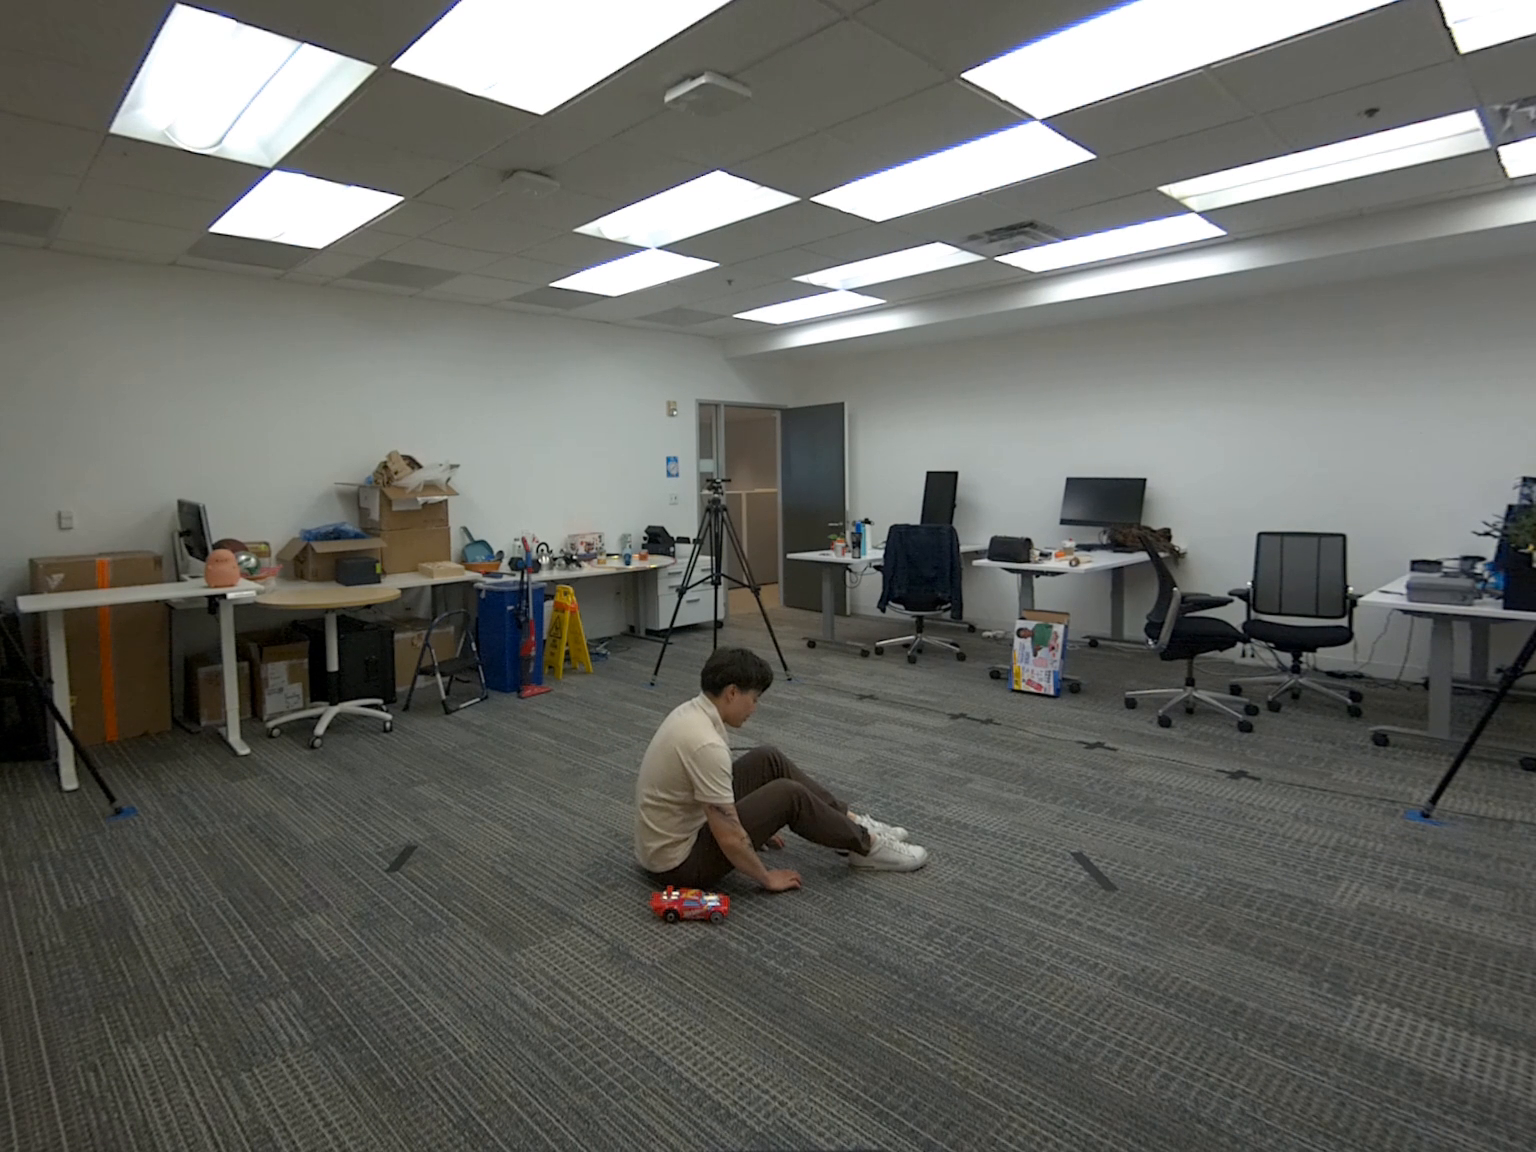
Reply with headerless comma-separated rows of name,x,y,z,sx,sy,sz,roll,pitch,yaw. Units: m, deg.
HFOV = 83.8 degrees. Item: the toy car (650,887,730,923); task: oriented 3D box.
toy car,-0.256,1.065,2.744,0.255,0.083,0.130,9,6,2
